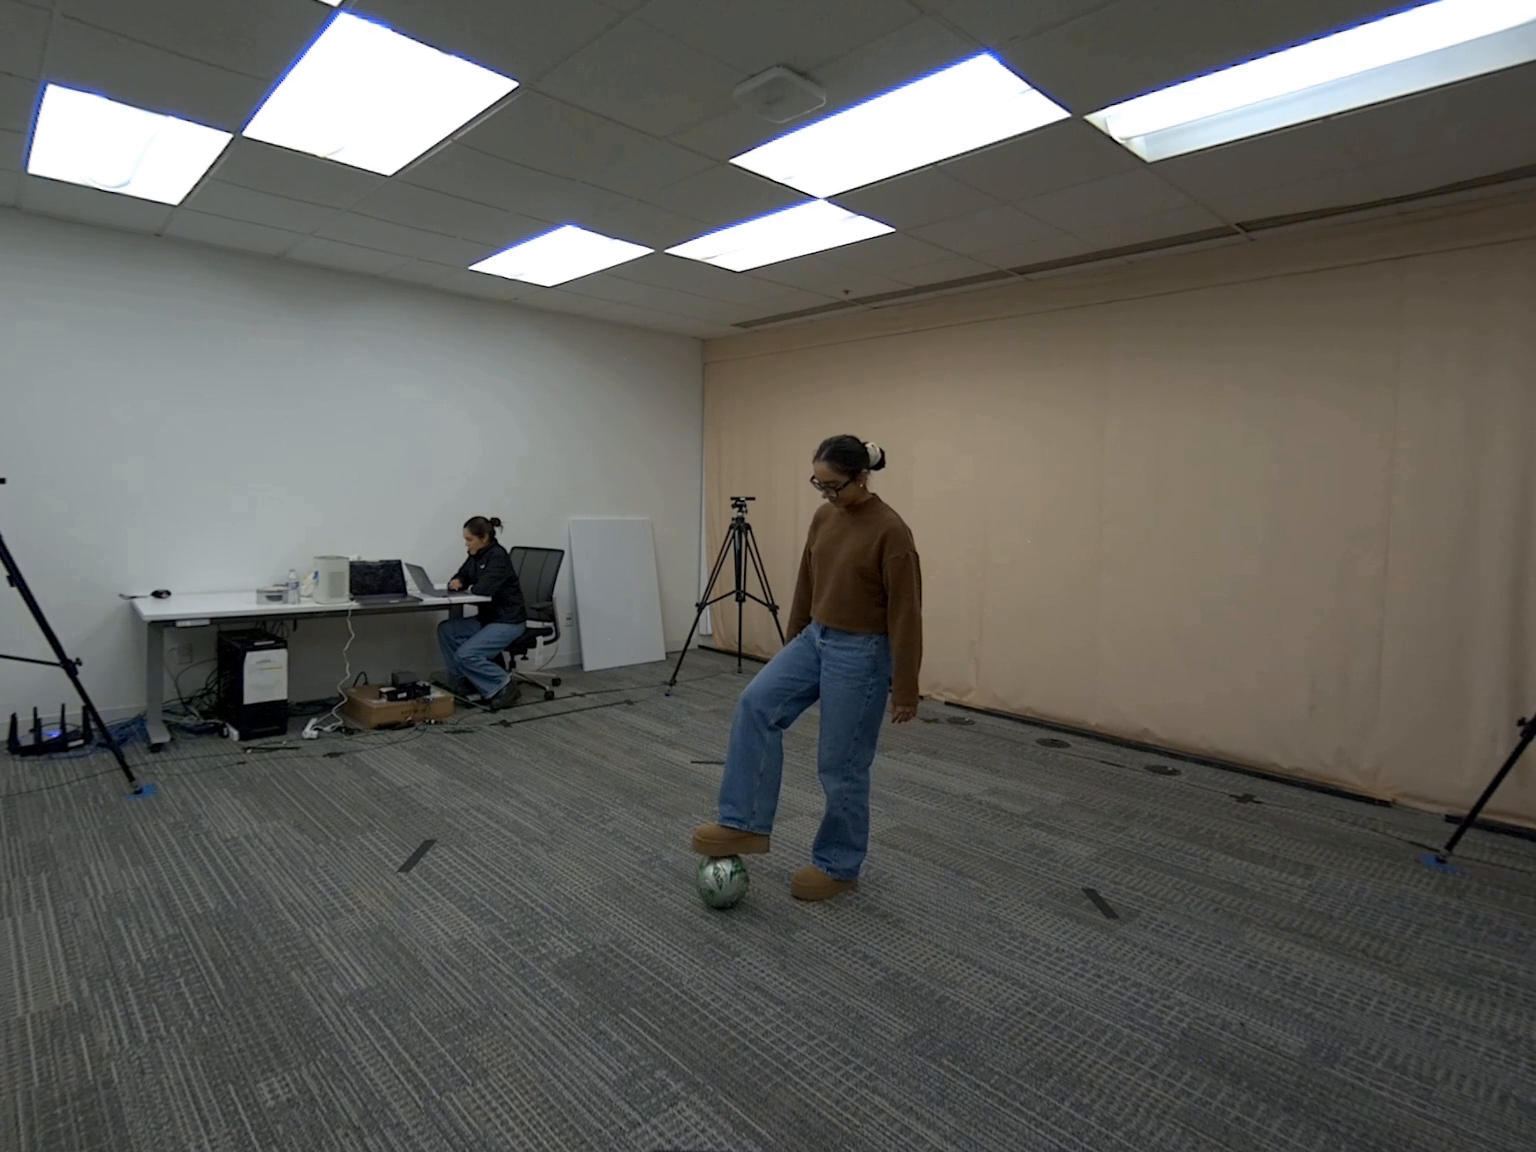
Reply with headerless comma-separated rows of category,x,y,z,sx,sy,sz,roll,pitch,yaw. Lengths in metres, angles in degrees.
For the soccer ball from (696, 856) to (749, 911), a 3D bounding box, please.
soccer ball,-0.166,1.035,2.874,0.187,0.187,0.188,1,4,-1
